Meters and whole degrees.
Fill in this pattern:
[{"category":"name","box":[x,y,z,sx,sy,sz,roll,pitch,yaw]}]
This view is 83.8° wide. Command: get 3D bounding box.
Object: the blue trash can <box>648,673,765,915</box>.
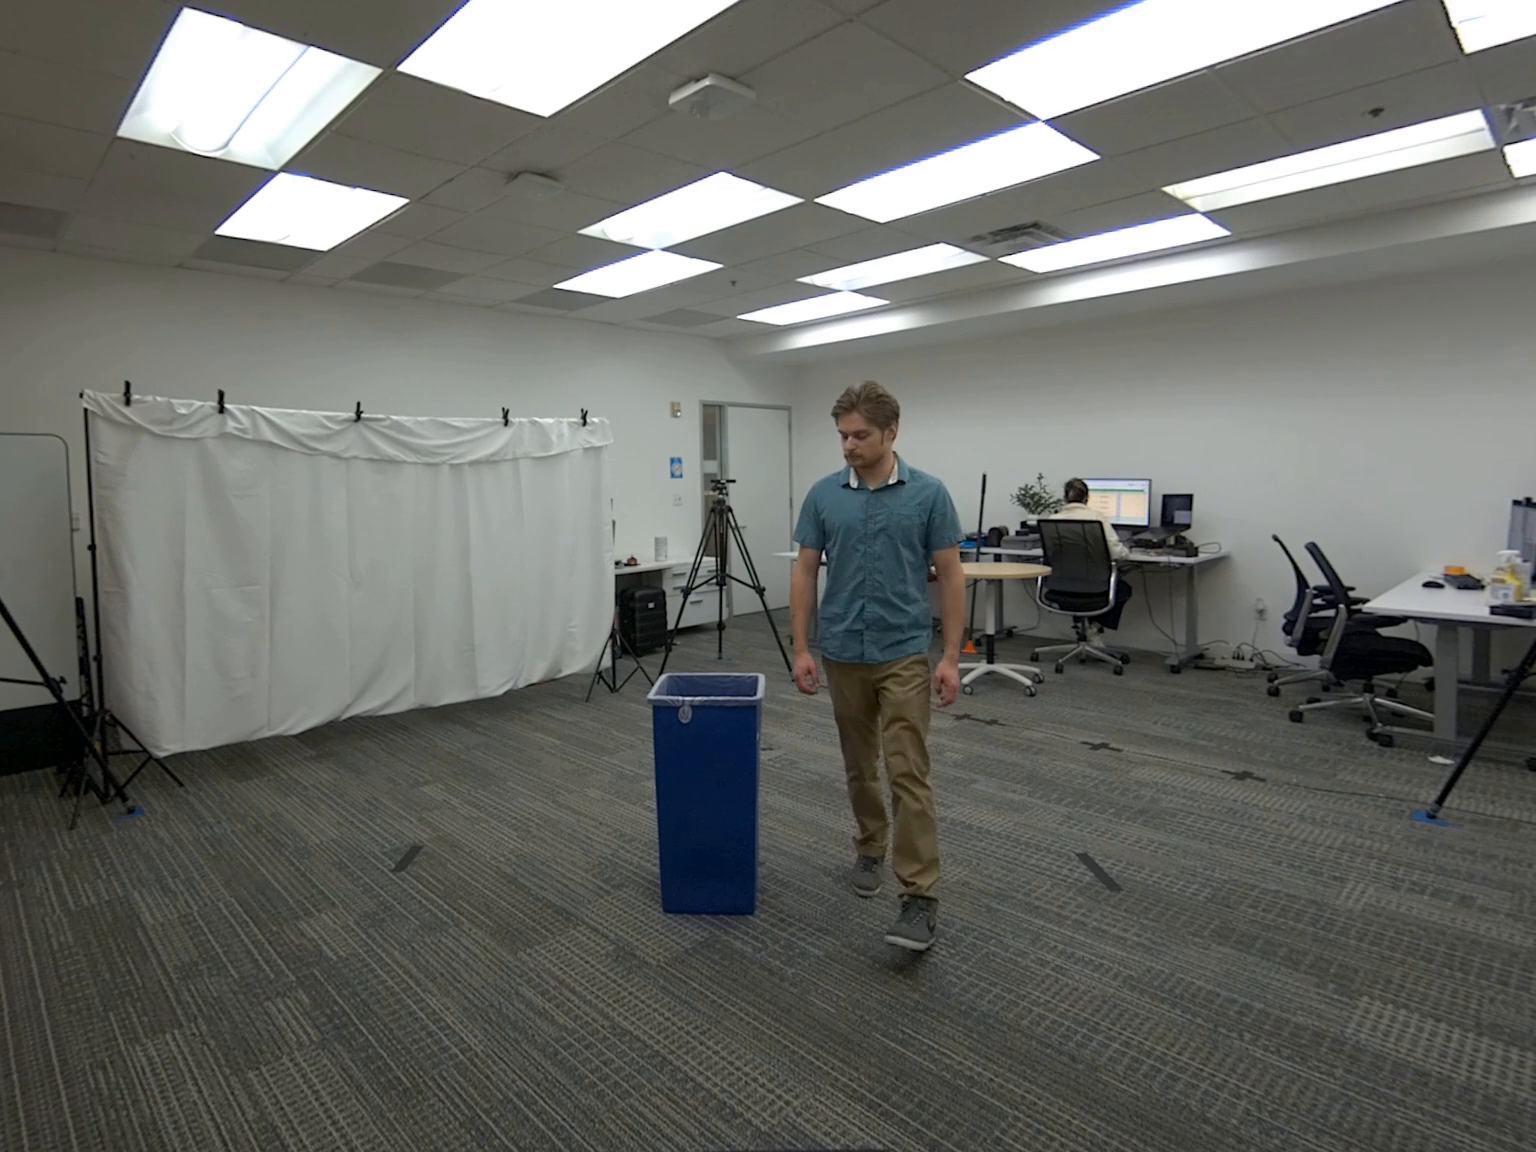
[{"category":"blue trash can","box":[-0.182,0.720,2.878,0.375,0.711,0.378,-1,3,2]}]
